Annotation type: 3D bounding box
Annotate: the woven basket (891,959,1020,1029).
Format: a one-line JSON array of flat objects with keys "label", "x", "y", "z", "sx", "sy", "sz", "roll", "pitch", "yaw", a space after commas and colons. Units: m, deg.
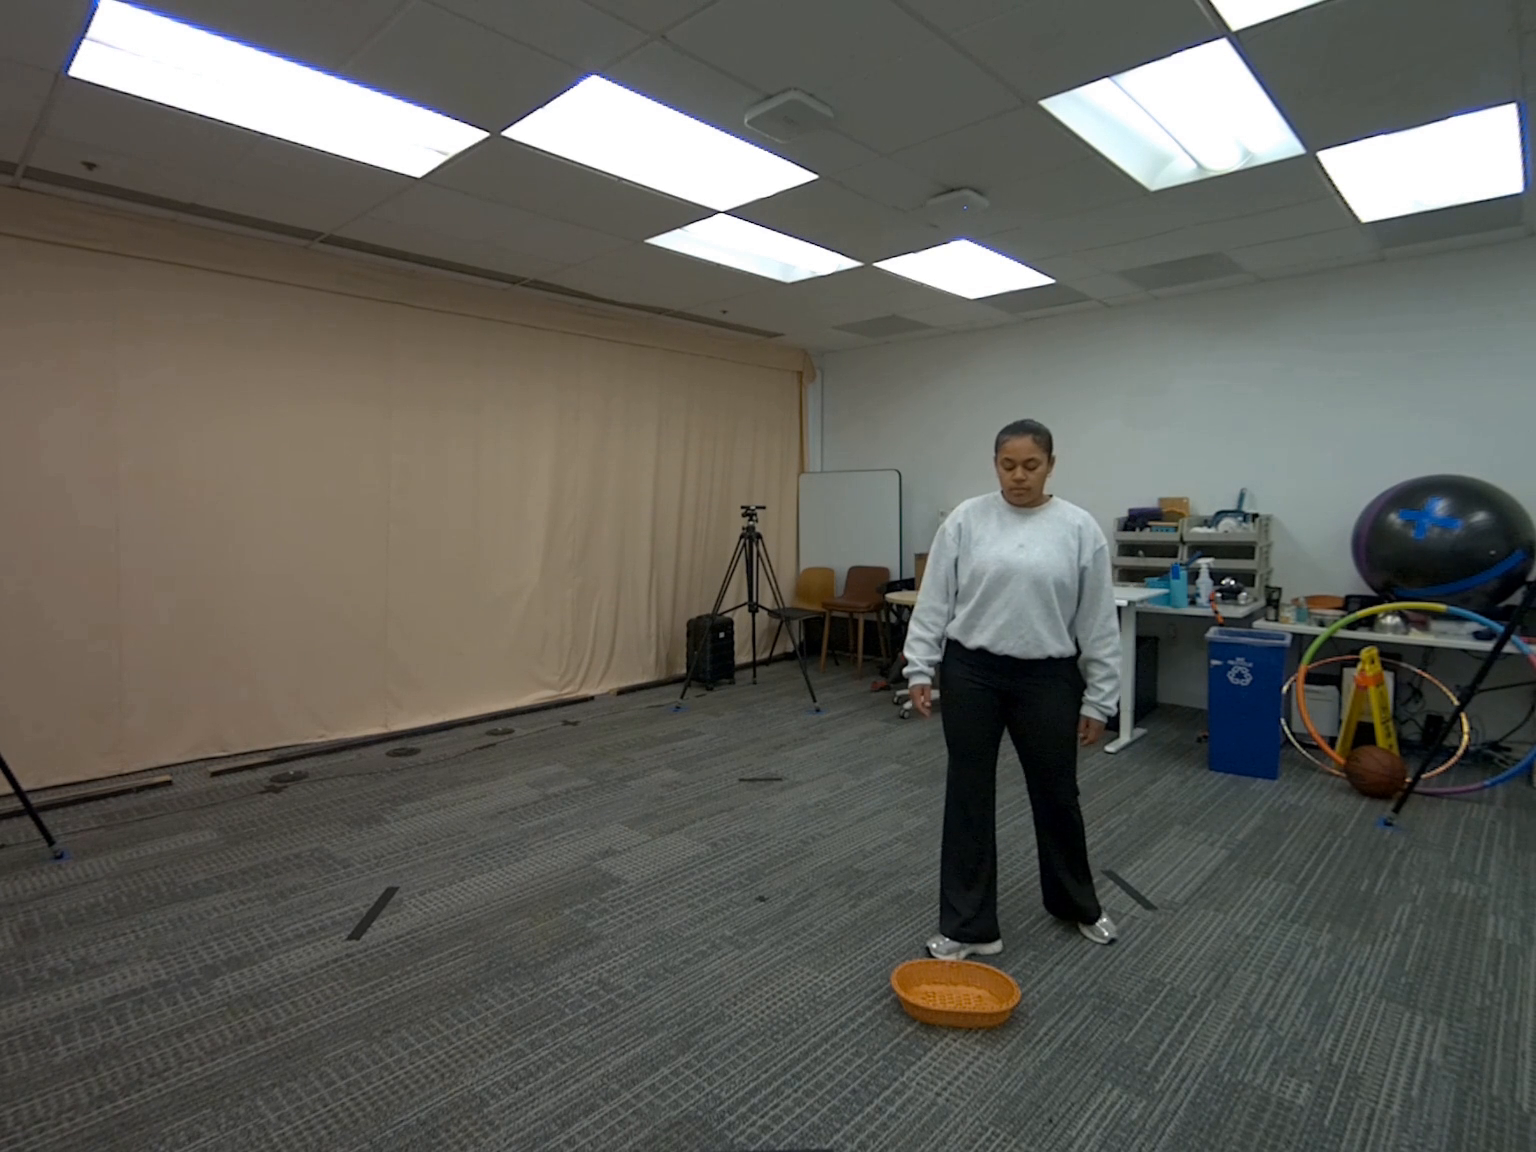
[{"label": "woven basket", "x": 0.516, "y": 1.157, "z": 2.329, "sx": 0.353, "sy": 0.073, "sz": 0.251, "roll": 0, "pitch": 4, "yaw": 6}]
